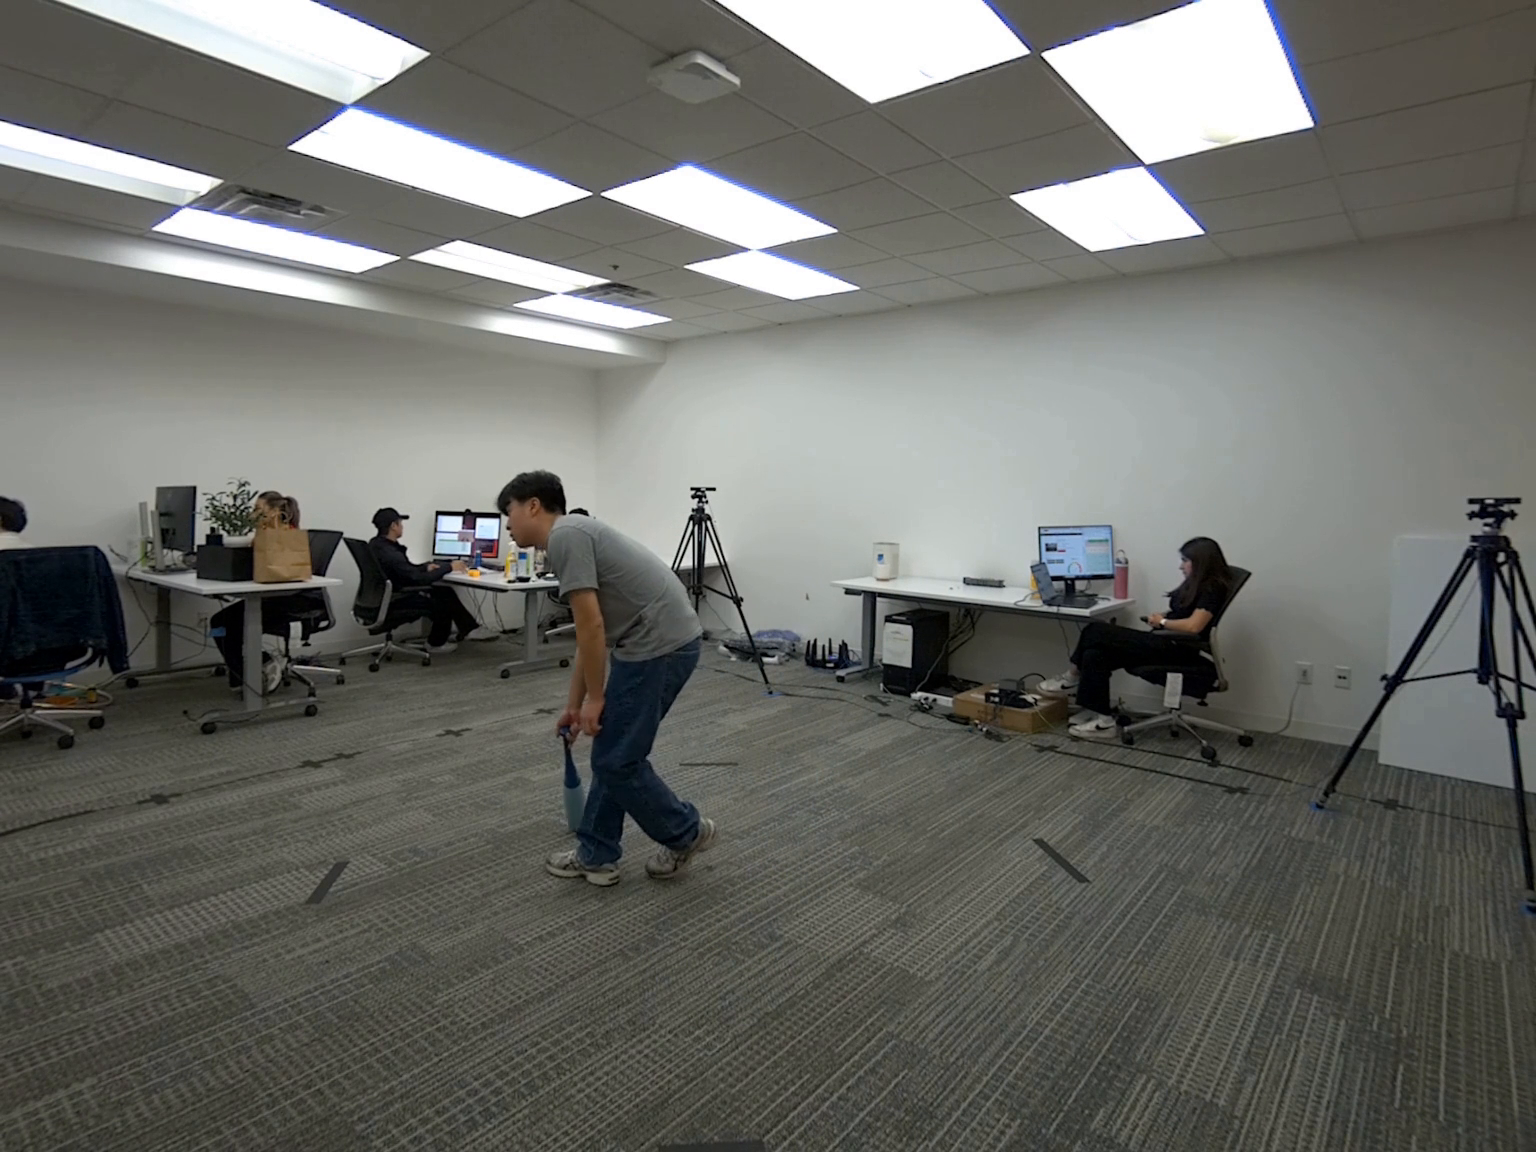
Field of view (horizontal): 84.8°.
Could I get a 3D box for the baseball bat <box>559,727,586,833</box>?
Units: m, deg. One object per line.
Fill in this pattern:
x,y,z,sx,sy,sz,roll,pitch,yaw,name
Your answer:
-0.790,0.793,3.310,0.089,0.528,0.091,-1,34,-1,baseball bat
